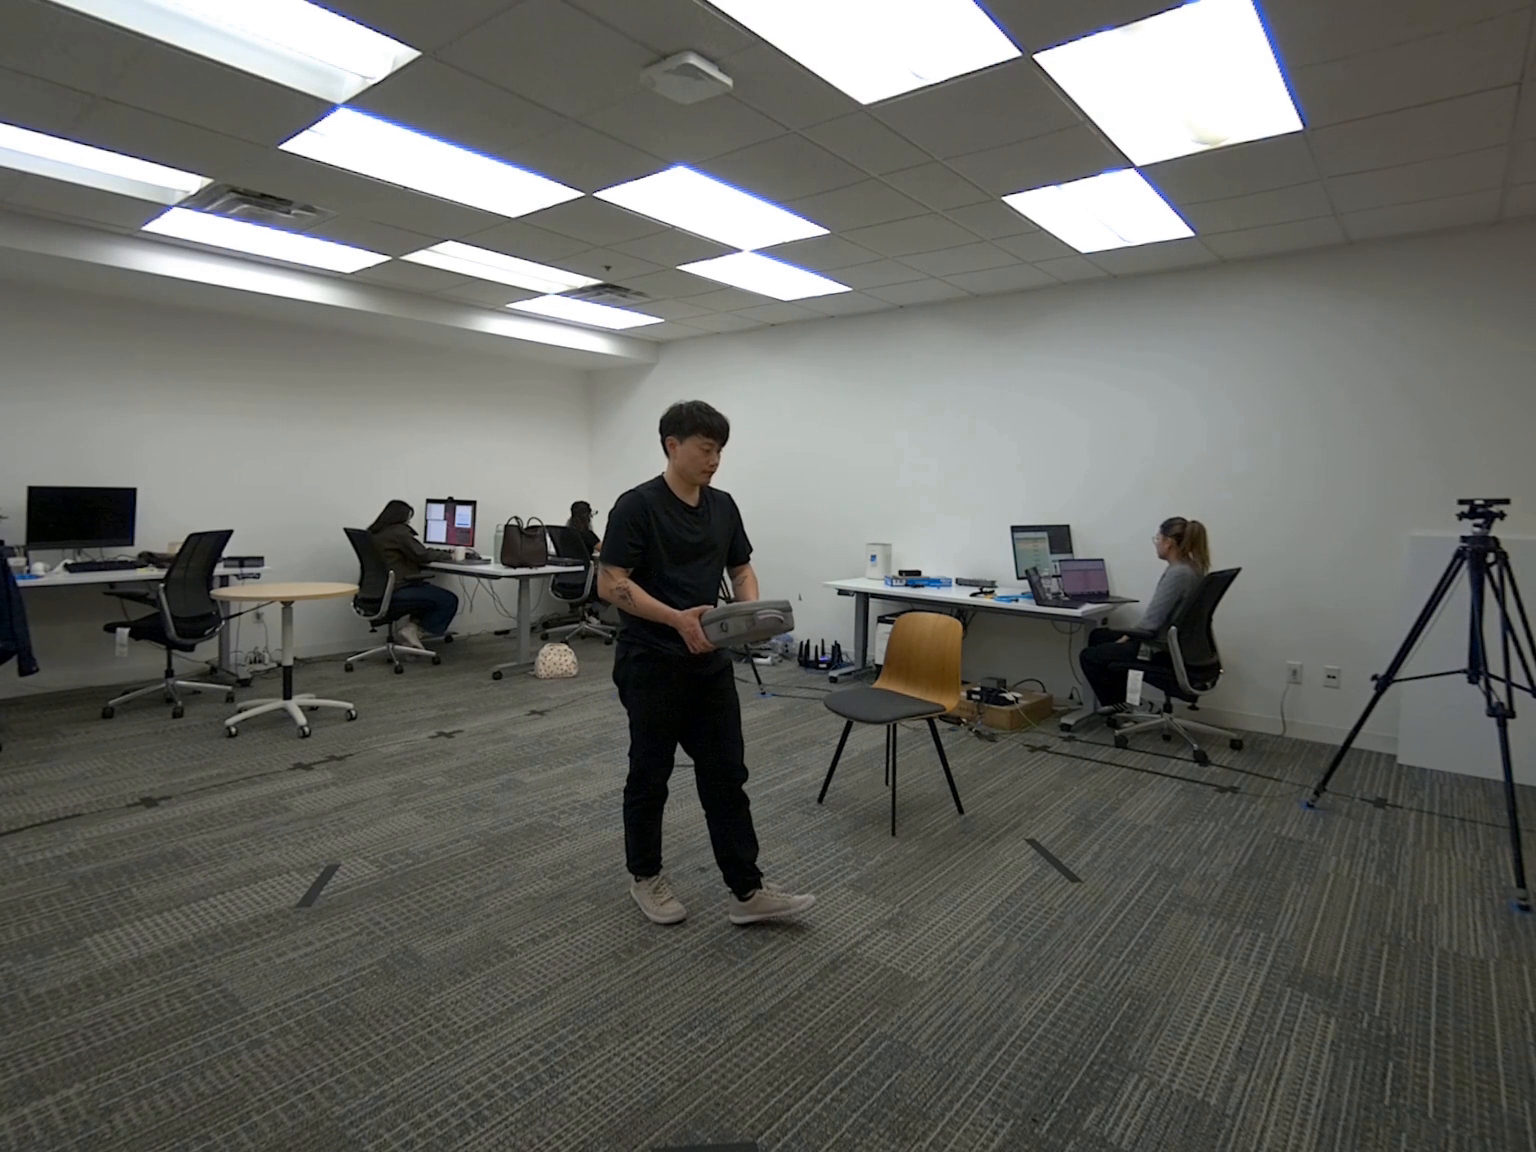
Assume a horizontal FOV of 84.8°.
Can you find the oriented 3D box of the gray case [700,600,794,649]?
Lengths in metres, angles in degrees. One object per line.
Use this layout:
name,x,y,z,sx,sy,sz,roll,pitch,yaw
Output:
gray case,-0.092,0.138,2.554,0.266,0.105,0.249,-13,-8,36
